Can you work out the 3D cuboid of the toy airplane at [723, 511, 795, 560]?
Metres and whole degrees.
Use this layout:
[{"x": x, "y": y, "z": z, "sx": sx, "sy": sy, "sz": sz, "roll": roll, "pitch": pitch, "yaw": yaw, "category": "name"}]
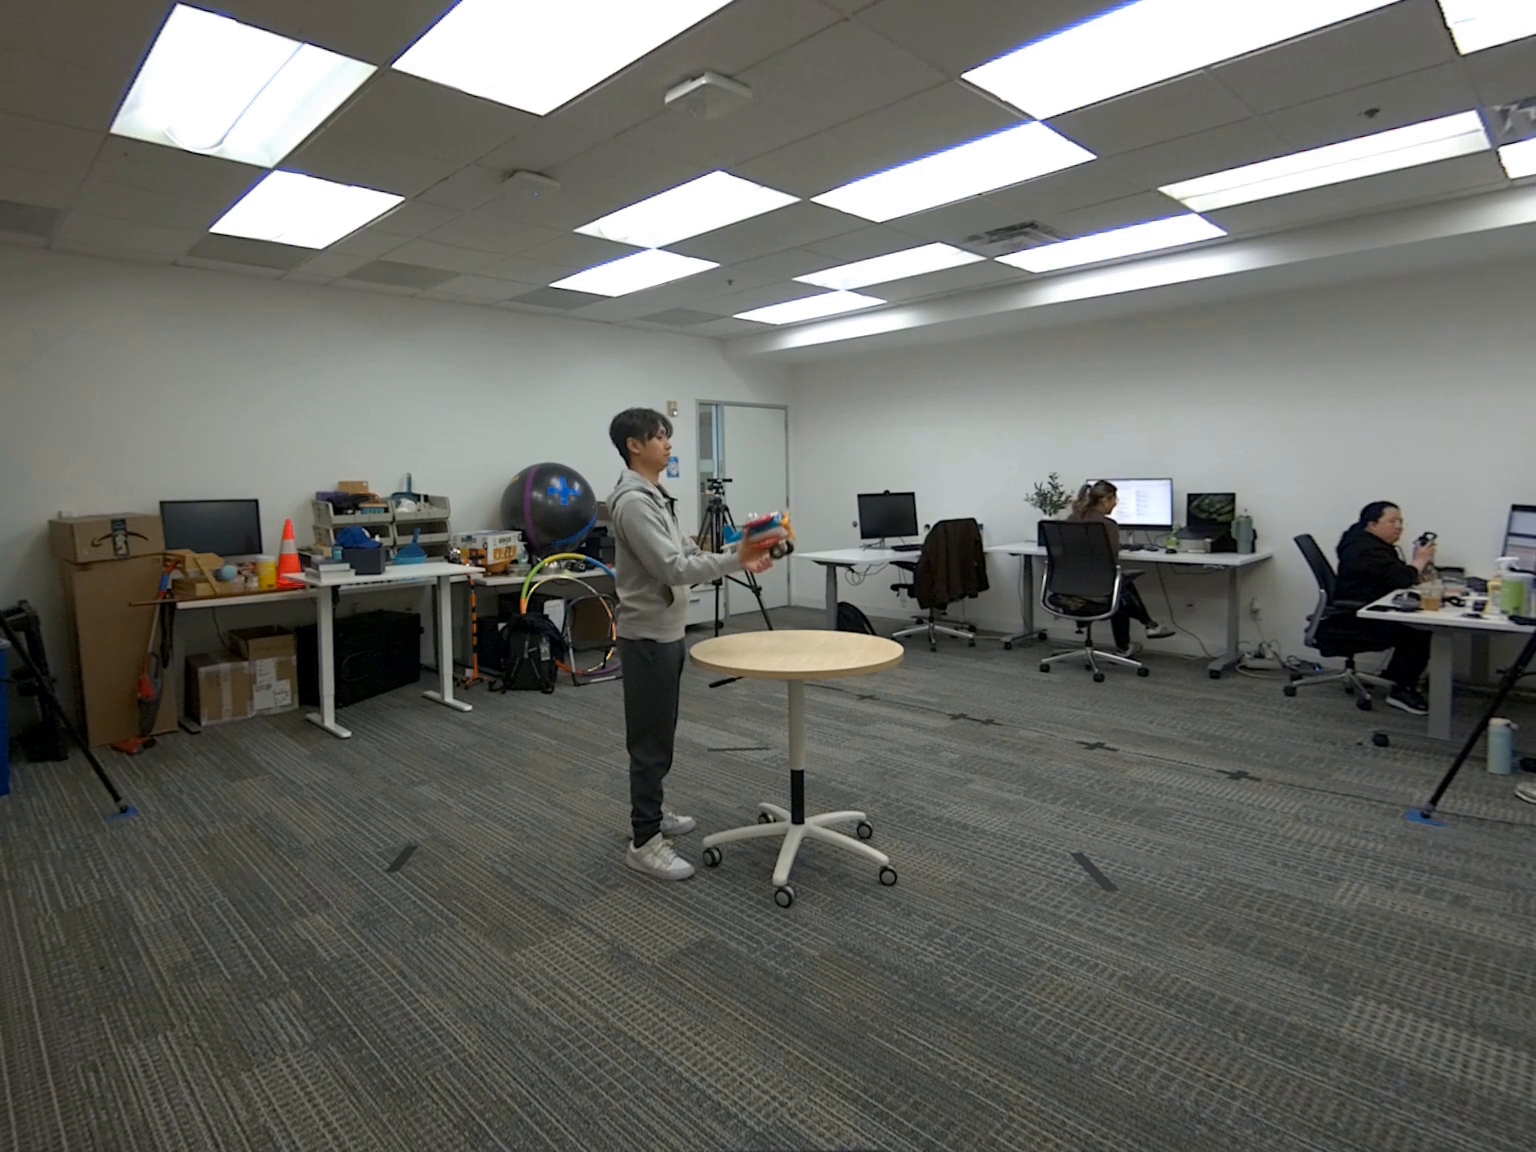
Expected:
[{"x": -0.048, "y": -0.139, "z": 2.988, "sx": 0.258, "sy": 0.155, "sz": 0.254, "roll": -8, "pitch": 9, "yaw": -6, "category": "toy airplane"}]
